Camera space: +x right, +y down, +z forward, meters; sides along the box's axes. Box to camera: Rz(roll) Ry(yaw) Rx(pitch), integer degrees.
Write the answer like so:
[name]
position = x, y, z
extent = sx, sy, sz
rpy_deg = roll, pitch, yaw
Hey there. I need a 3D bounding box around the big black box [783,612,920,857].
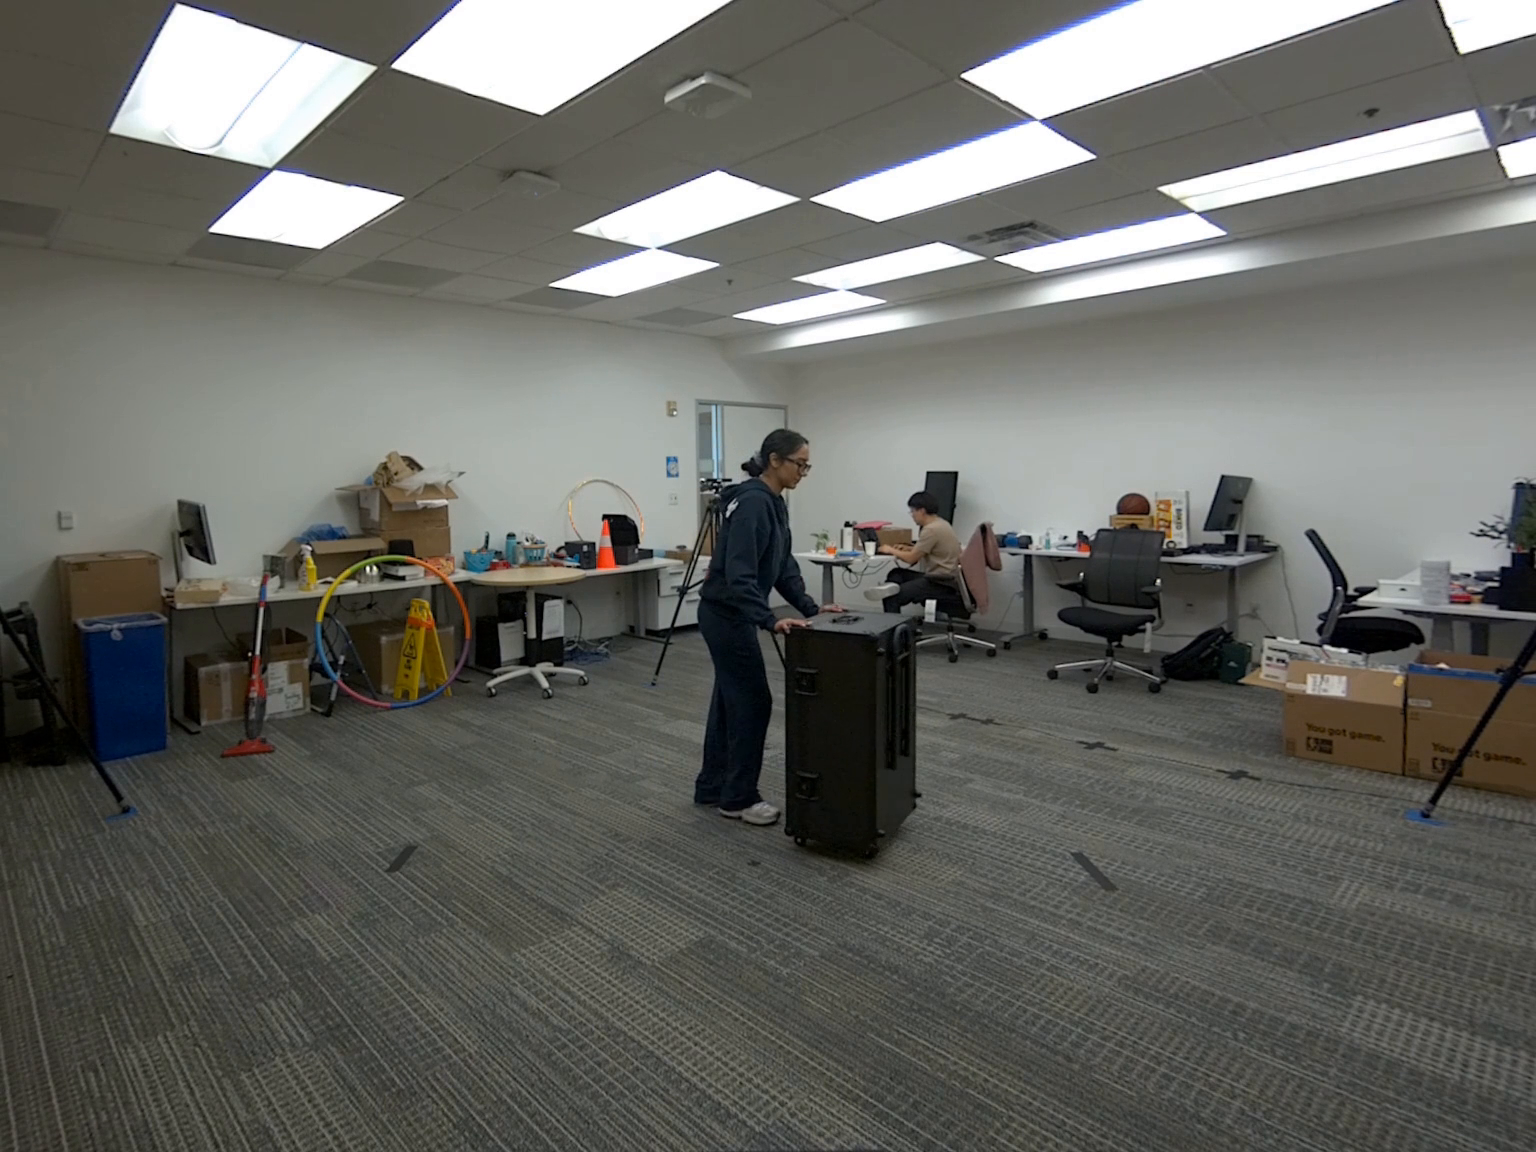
[big black box]
position = 0.345, 0.595, 3.268
extent = 0.407, 0.858, 0.510
rpy_deg = 3, 5, 30
